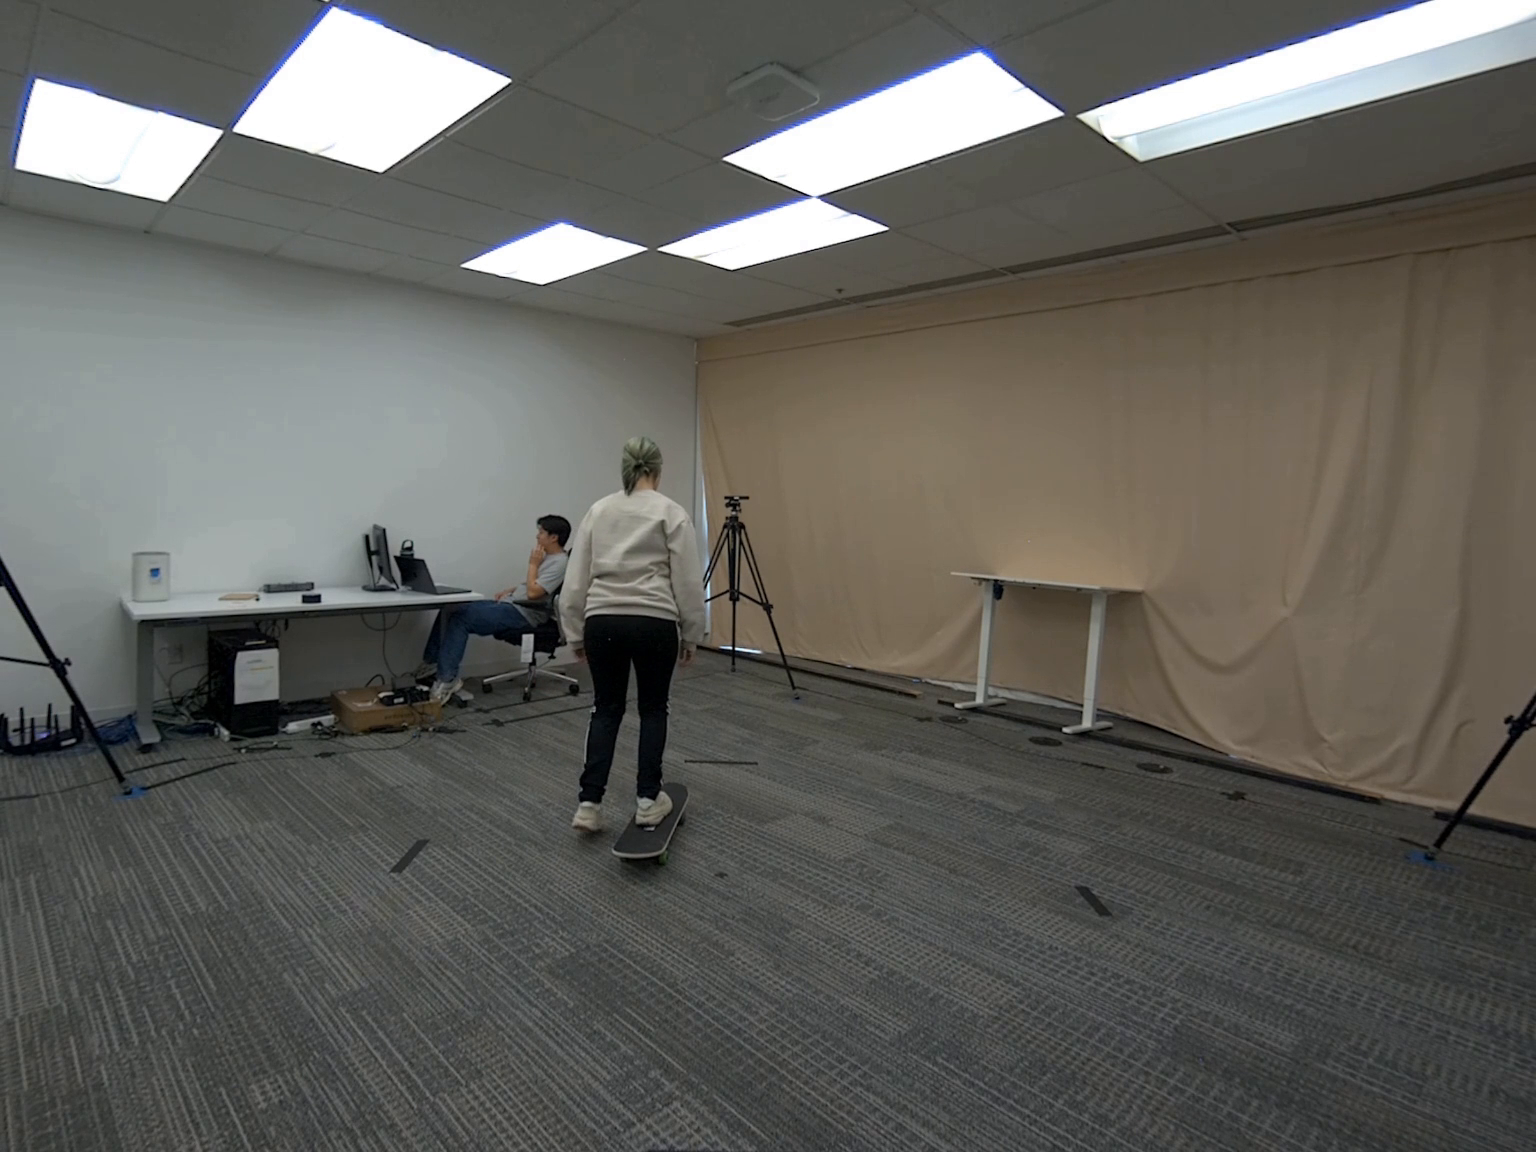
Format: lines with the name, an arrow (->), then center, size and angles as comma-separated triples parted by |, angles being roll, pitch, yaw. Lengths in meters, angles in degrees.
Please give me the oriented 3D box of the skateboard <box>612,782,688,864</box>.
skateboard -> -0.467, 1.016, 3.392 | 0.194, 0.110, 0.784 | -1, 5, 4
